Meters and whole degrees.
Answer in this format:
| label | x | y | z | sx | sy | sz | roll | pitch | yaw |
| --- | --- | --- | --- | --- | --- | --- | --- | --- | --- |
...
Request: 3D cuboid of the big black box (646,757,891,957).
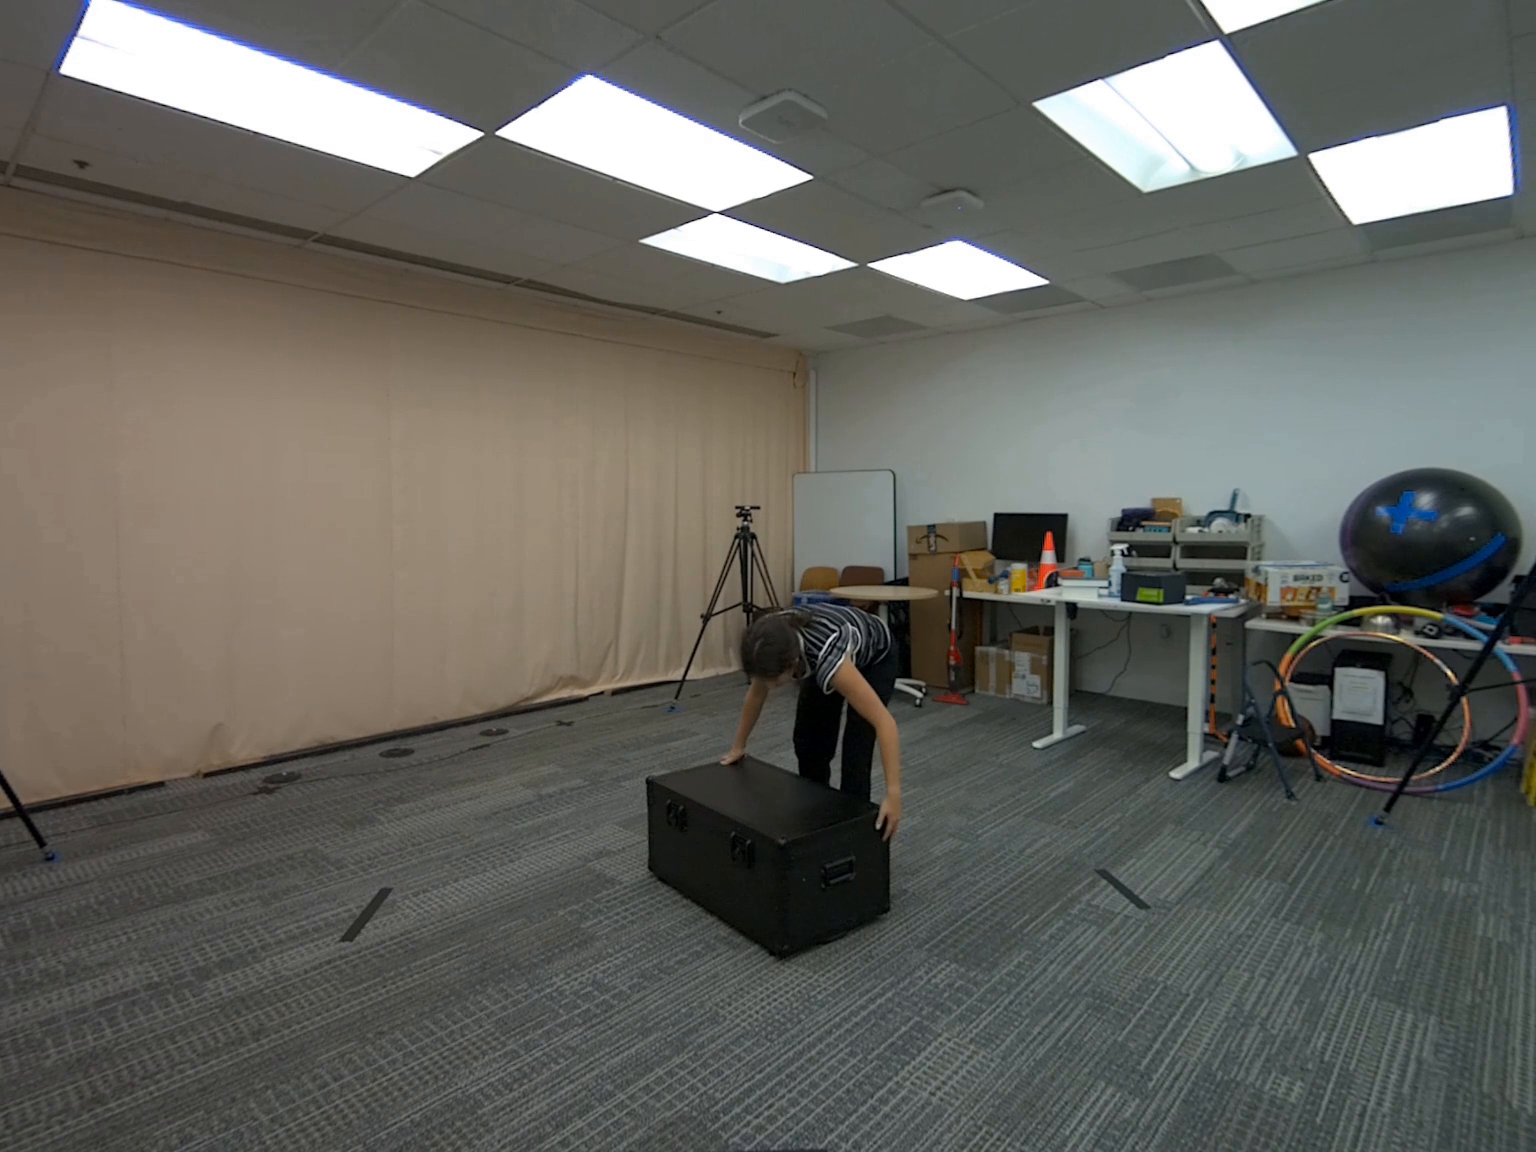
| label | x | y | z | sx | sy | sz | roll | pitch | yaw |
| --- | --- | --- | --- | --- | --- | --- | --- | --- | --- |
| big black box | -0.040 | 0.951 | 3.022 | 0.506 | 0.395 | 0.890 | -3 | 6 | -38 |
